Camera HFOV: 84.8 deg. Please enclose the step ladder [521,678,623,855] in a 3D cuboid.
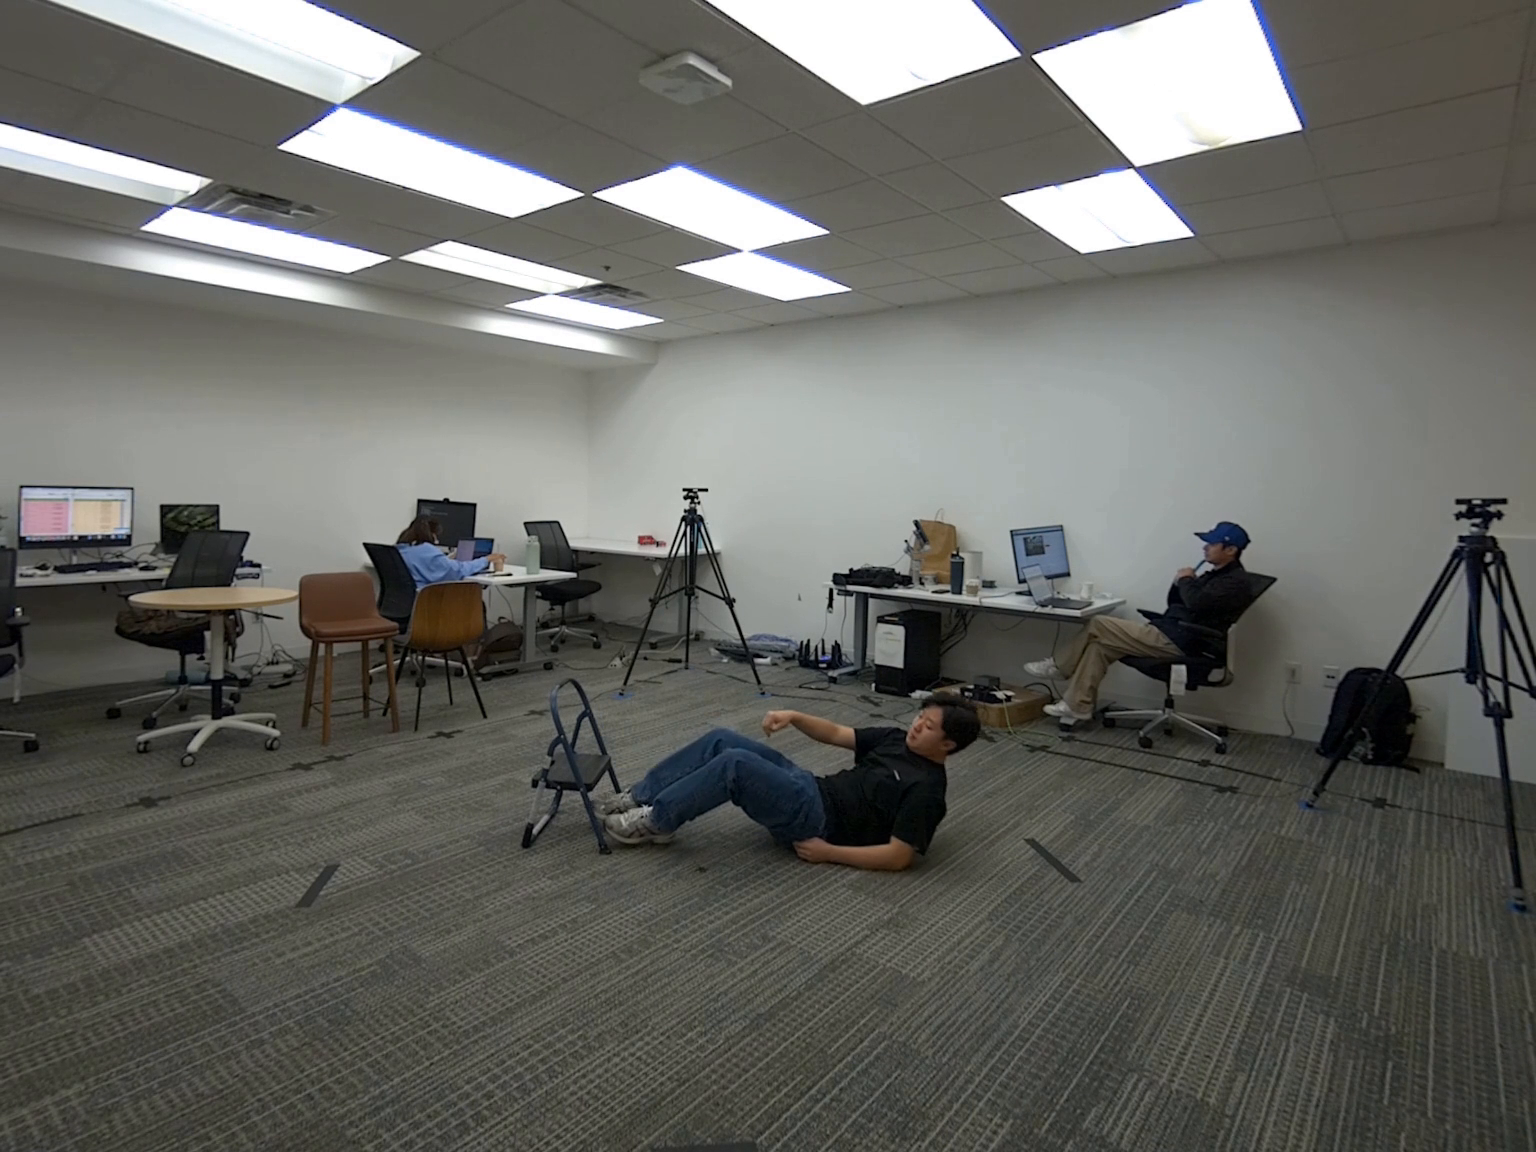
[{"bbox_3d":[-0.778,0.728,3.436,0.350,0.605,0.430,2,3,2],"label":"step ladder"}]
